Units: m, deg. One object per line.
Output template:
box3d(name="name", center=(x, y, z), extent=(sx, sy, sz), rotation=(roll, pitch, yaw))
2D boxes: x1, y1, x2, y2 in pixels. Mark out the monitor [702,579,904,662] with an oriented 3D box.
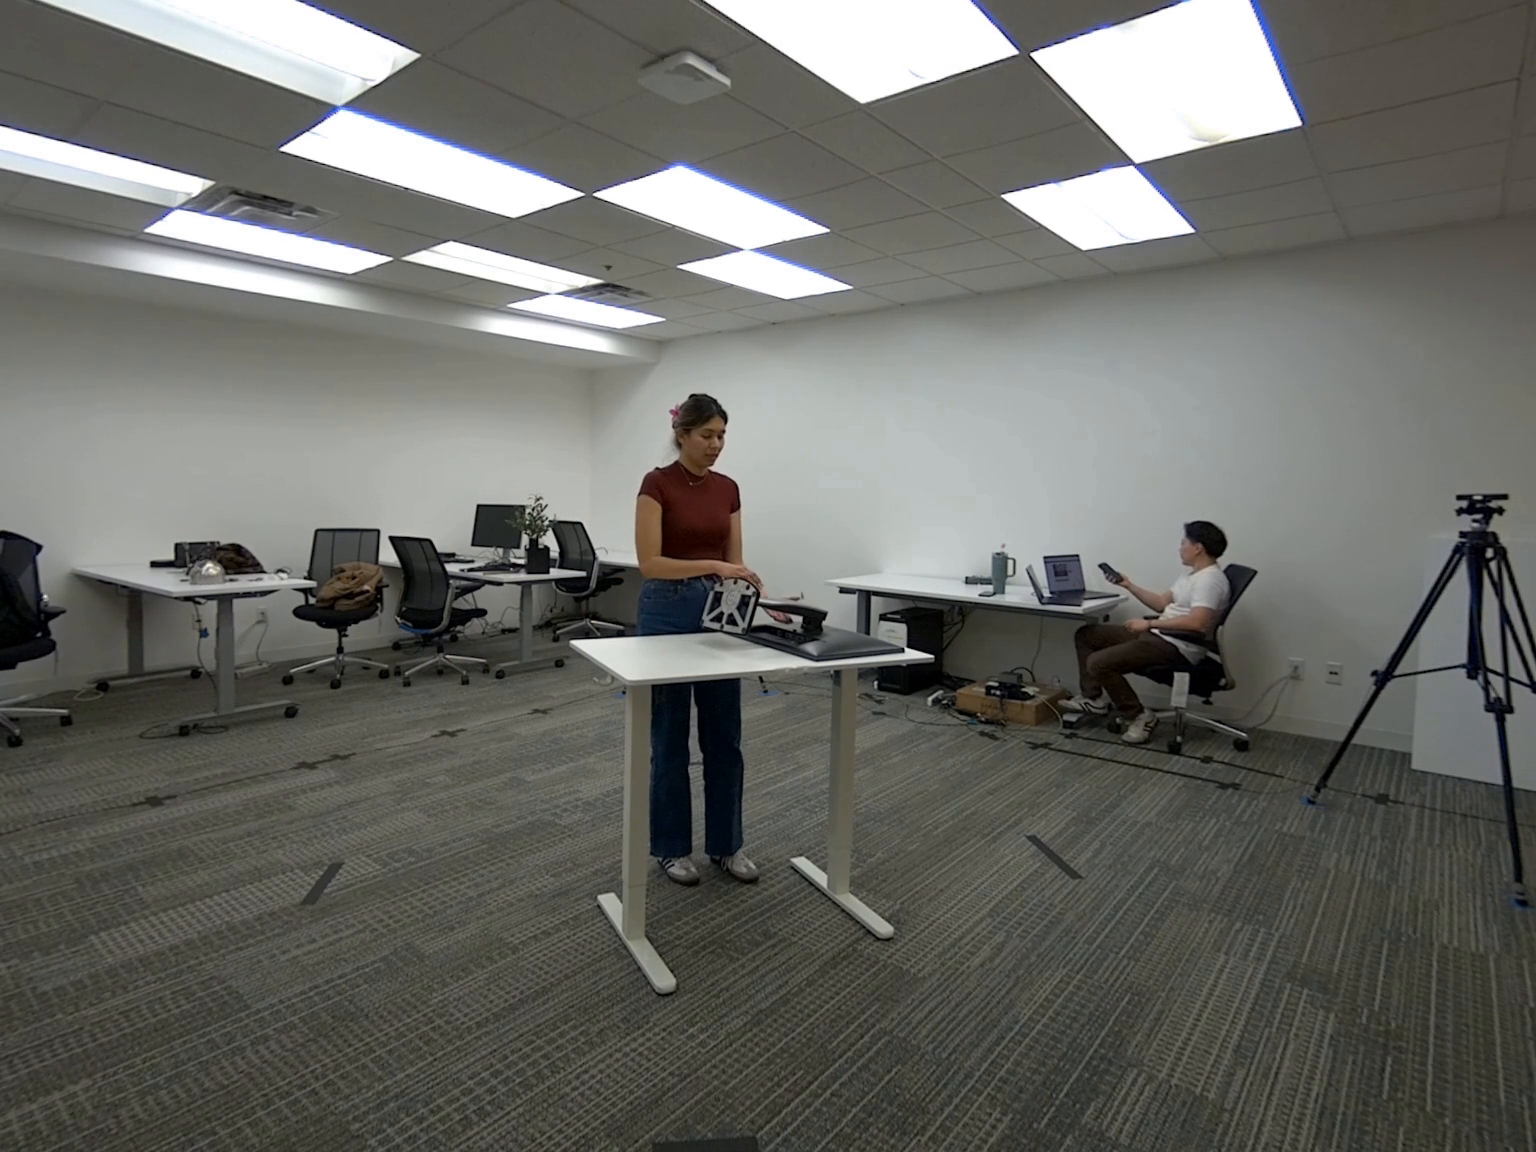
box3d(name="monitor", center=(0.070, 0.162, 2.781), extent=(0.505, 0.187, 0.556), rotation=(19, -4, -31))
